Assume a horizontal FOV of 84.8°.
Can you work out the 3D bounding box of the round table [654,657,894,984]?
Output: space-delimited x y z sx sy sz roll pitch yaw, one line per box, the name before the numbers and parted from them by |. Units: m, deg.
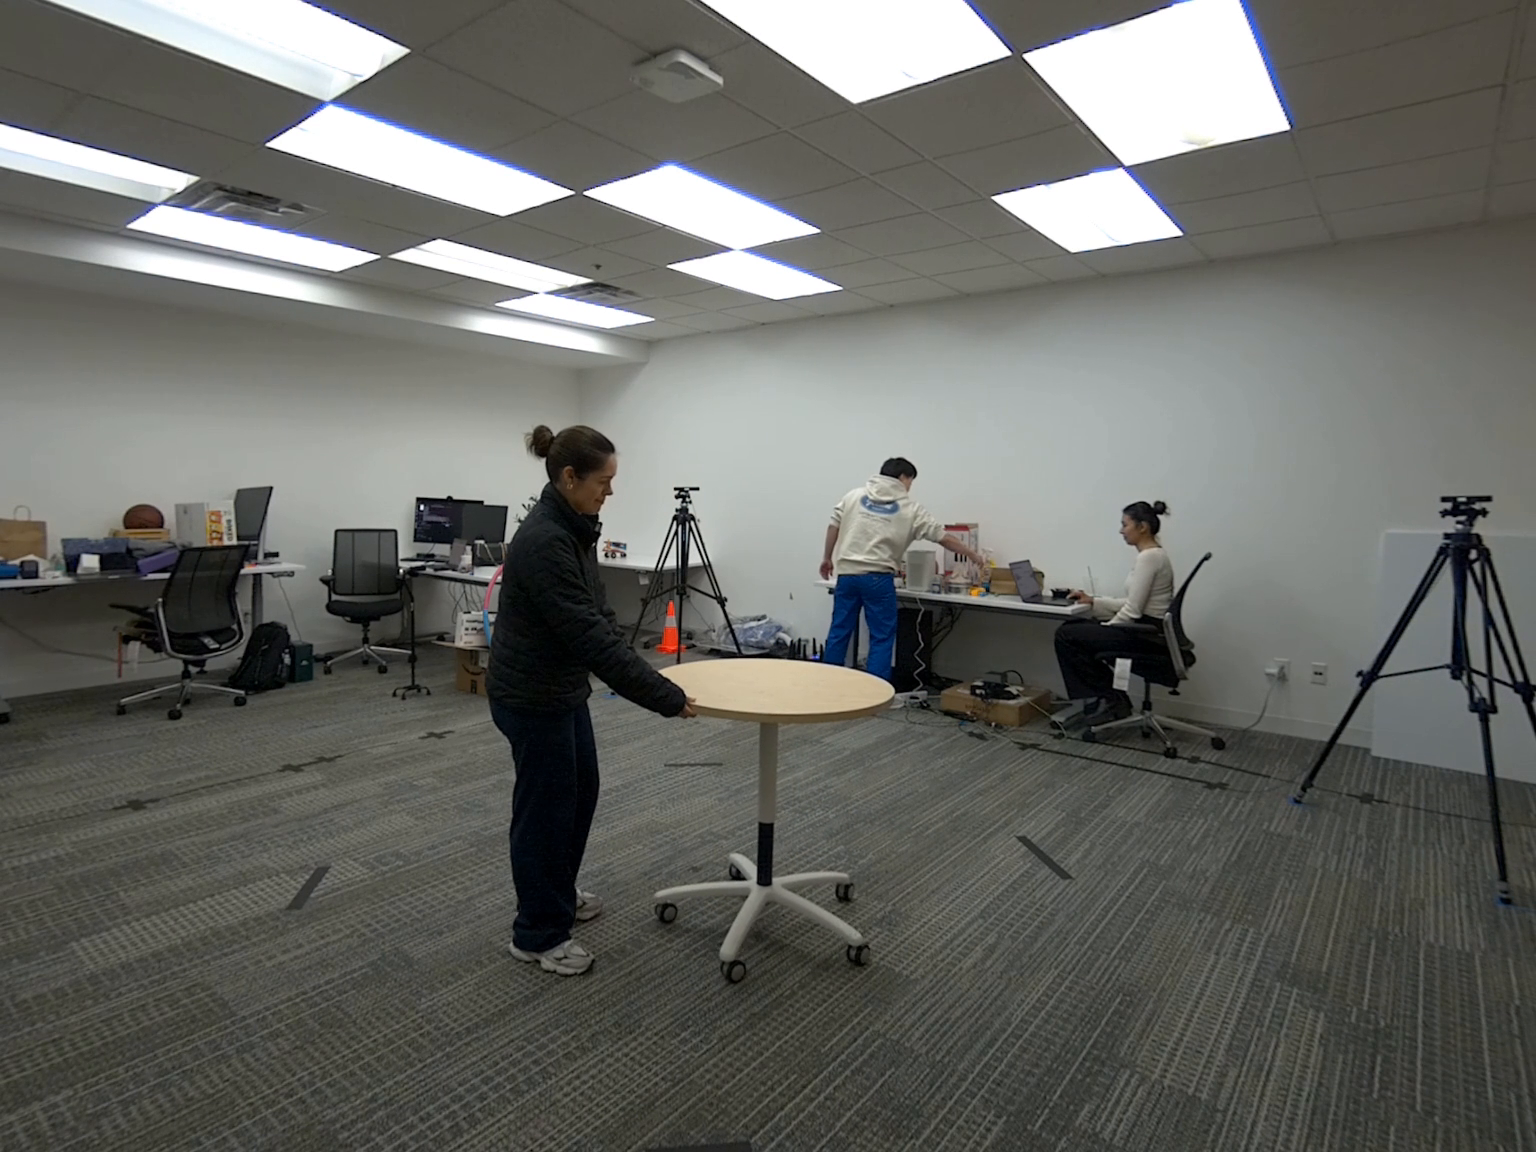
round table | 0.000 0.719 2.704 0.784 0.784 0.789 1 4 -2
